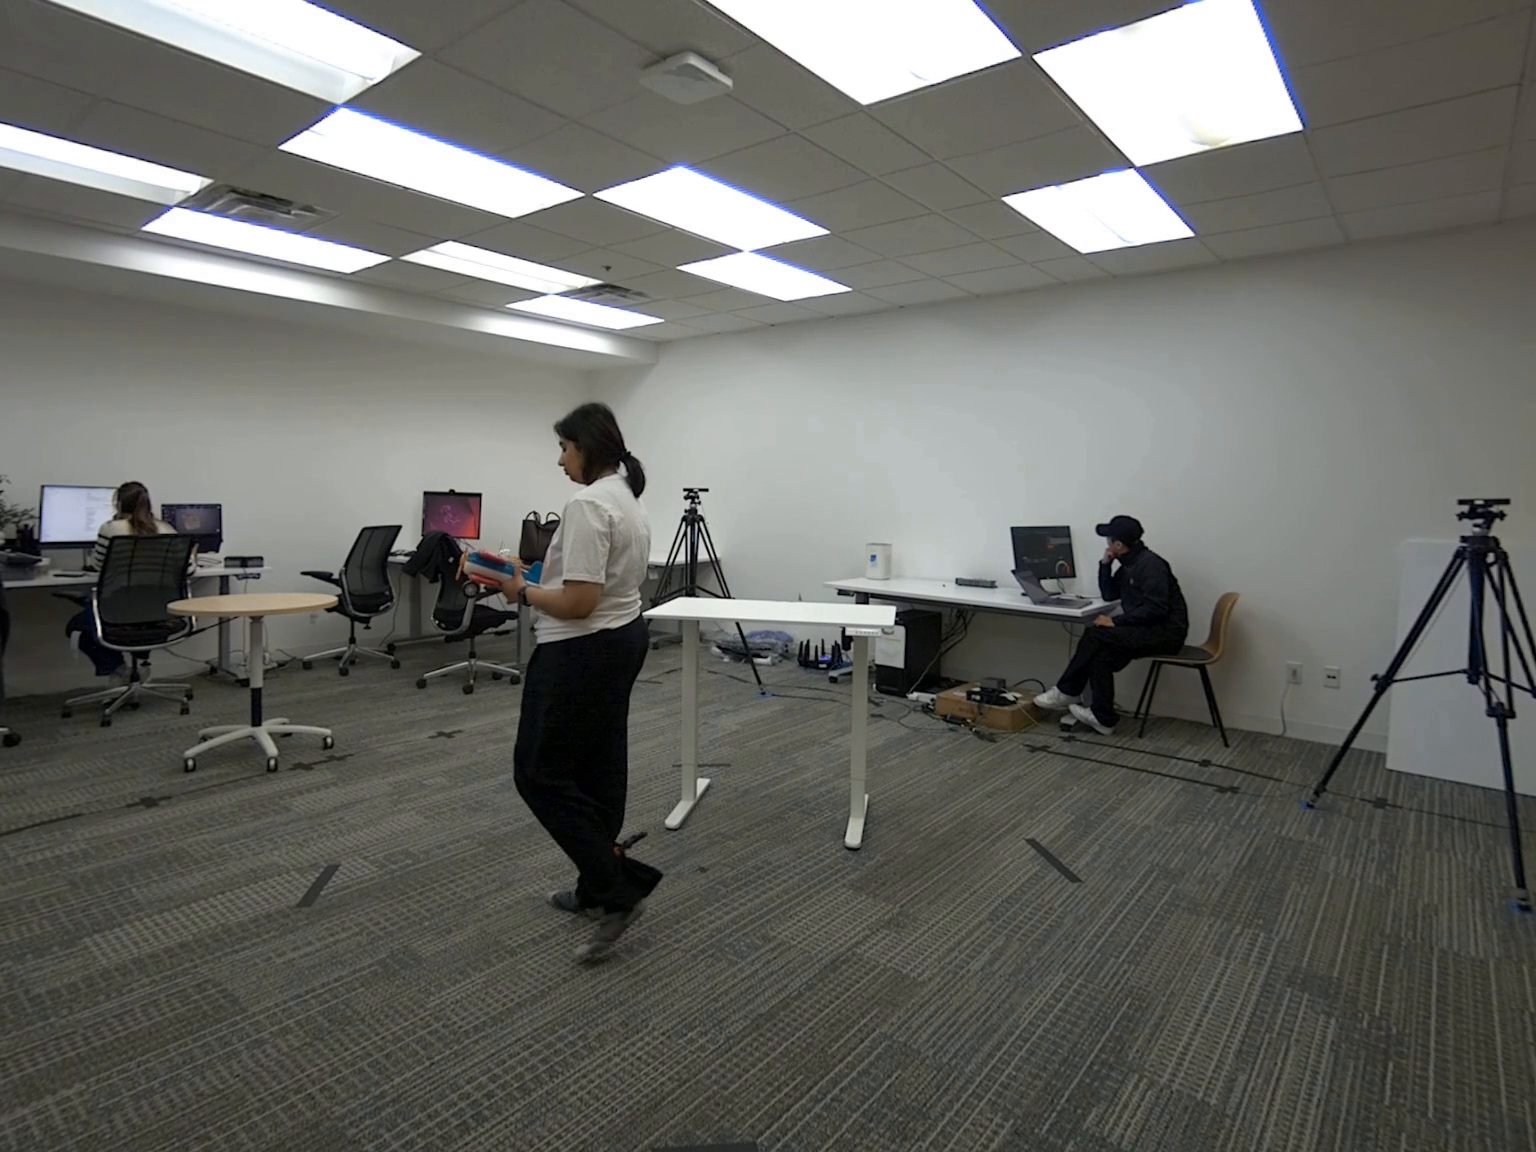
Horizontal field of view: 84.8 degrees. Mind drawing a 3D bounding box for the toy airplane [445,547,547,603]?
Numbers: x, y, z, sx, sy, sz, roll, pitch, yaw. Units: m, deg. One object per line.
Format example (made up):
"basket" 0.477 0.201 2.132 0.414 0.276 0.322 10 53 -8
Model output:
"toy airplane" -0.865 -0.003 2.726 0.250 0.157 0.259 6 -2 -41
